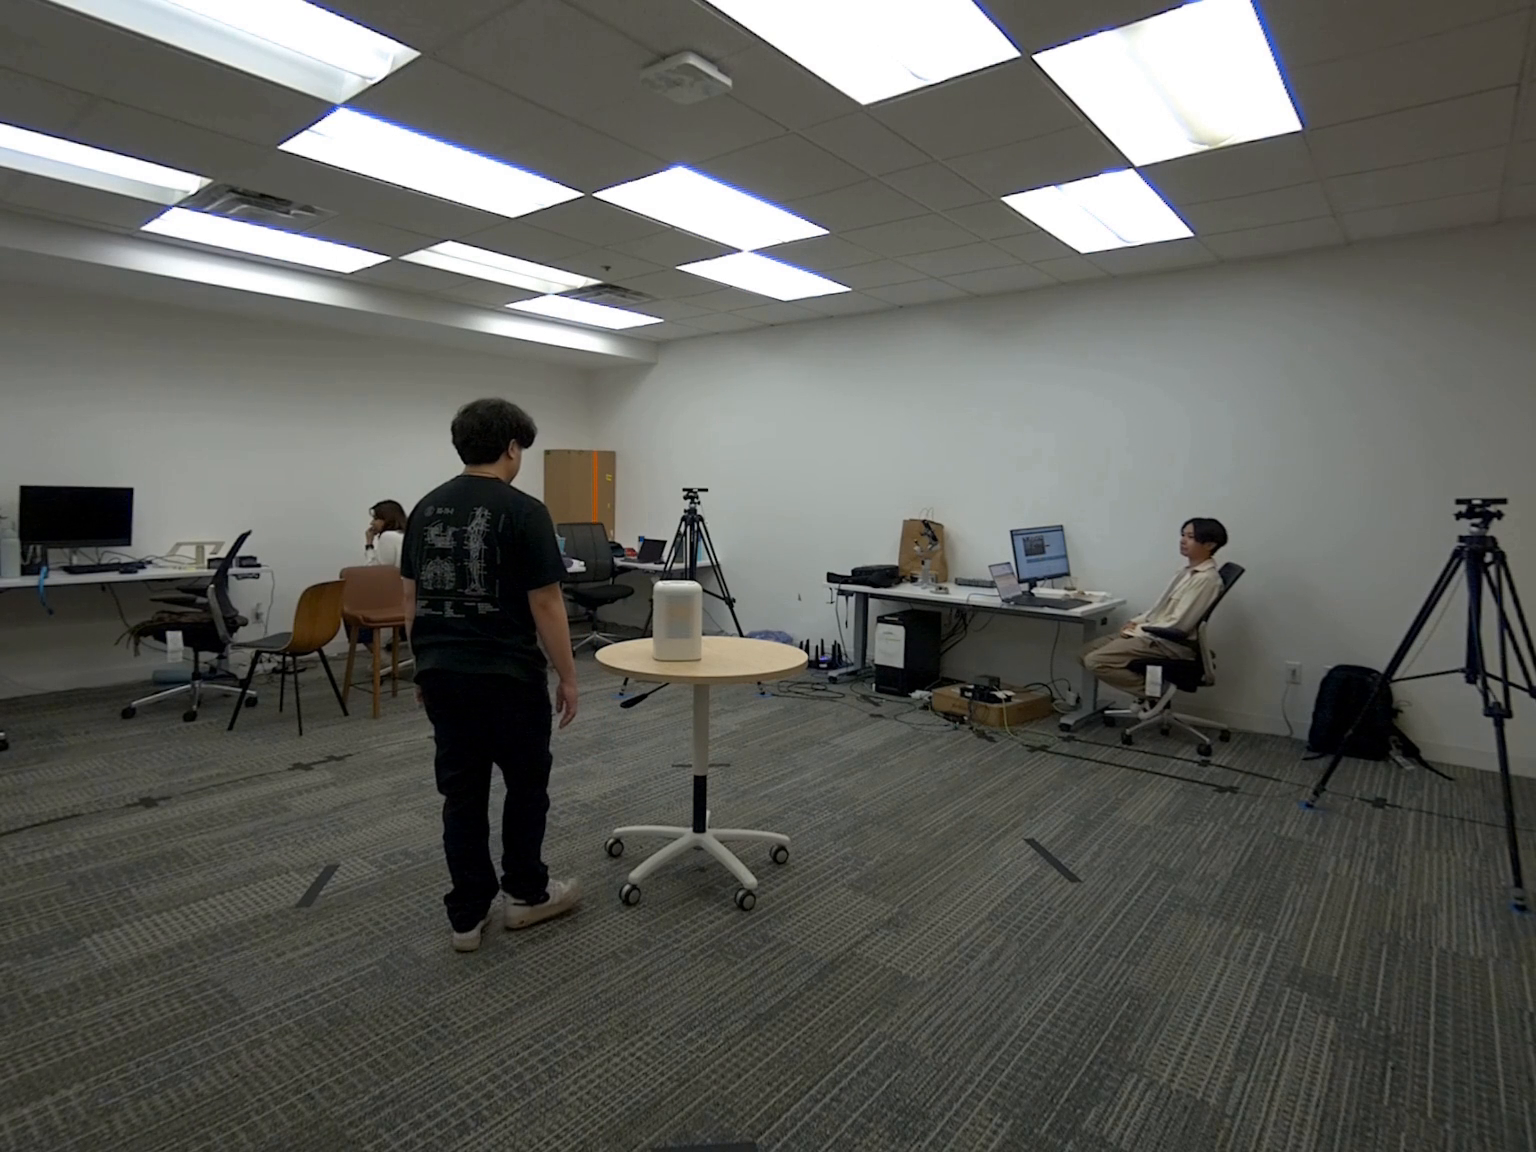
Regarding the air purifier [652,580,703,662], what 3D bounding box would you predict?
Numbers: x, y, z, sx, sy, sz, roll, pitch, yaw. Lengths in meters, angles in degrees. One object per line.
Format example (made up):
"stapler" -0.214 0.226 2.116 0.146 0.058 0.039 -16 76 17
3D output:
"air purifier" -0.332 0.152 3.006 0.170 0.265 0.173 -1 3 -8
